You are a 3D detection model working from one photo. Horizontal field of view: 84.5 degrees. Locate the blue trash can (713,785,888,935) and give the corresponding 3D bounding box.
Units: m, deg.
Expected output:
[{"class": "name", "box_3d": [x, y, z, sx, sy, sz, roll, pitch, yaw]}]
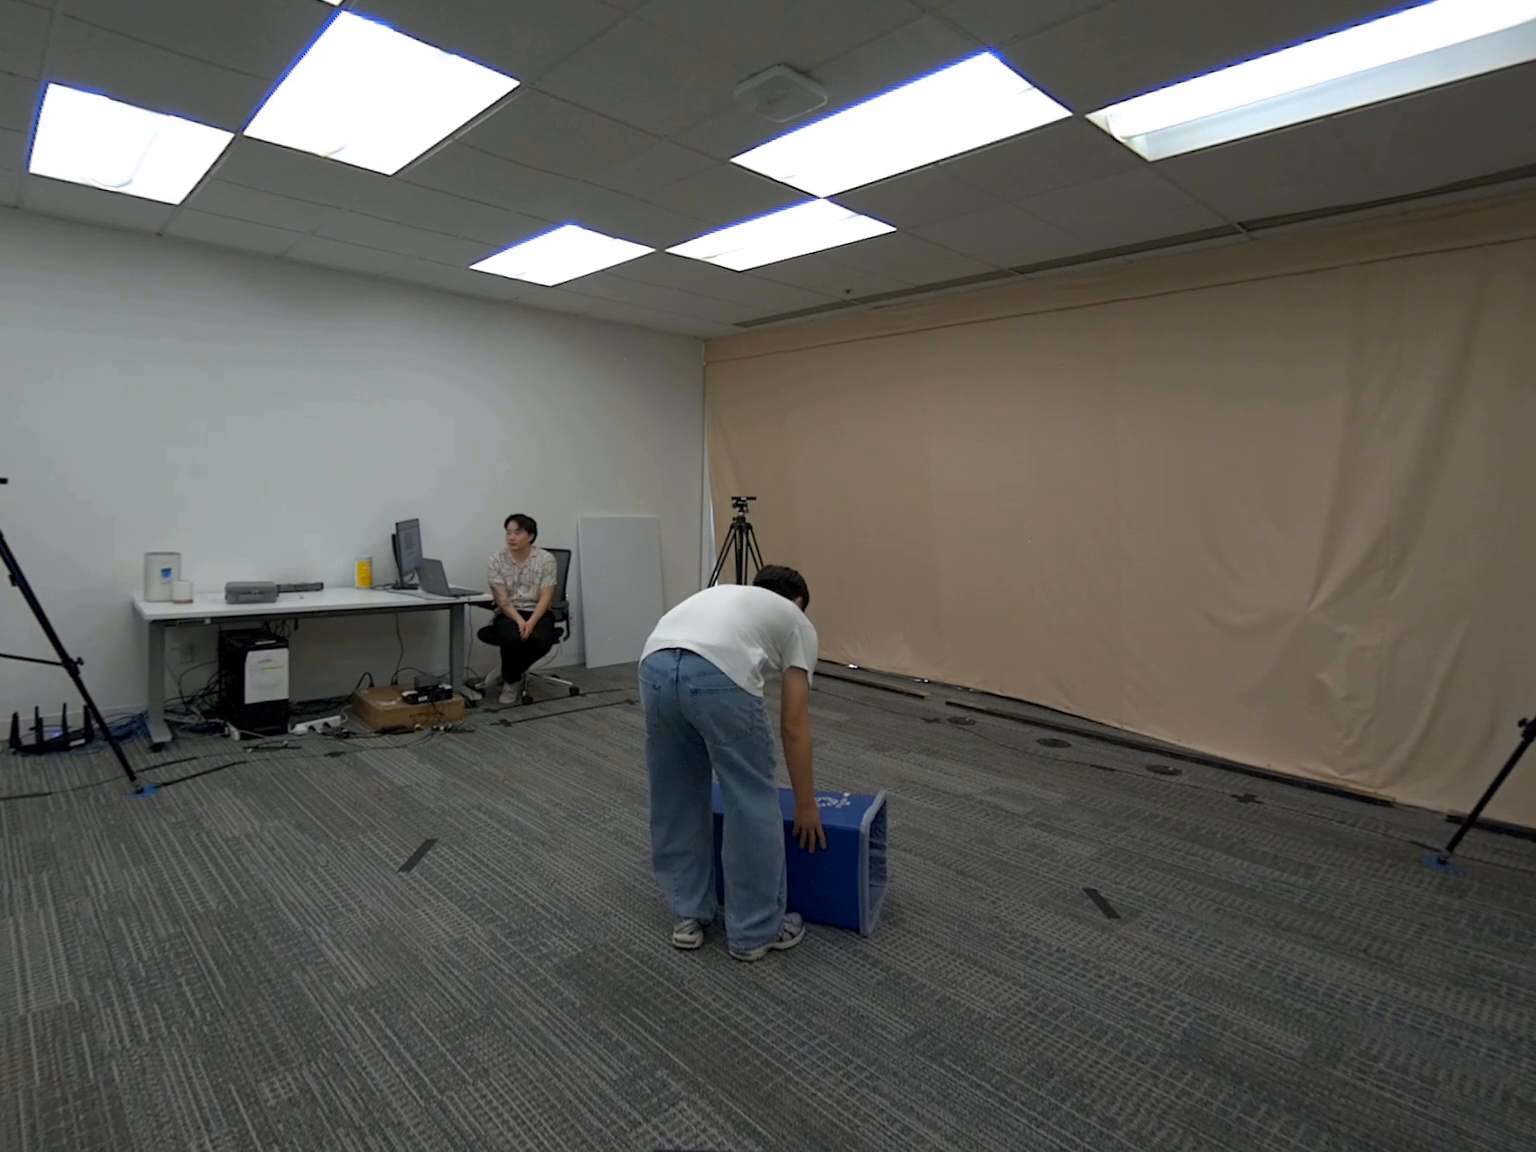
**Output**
[{"class": "blue trash can", "box_3d": [0.031, 0.956, 2.954, 0.725, 0.377, 0.369, 0, 4, 20]}]
